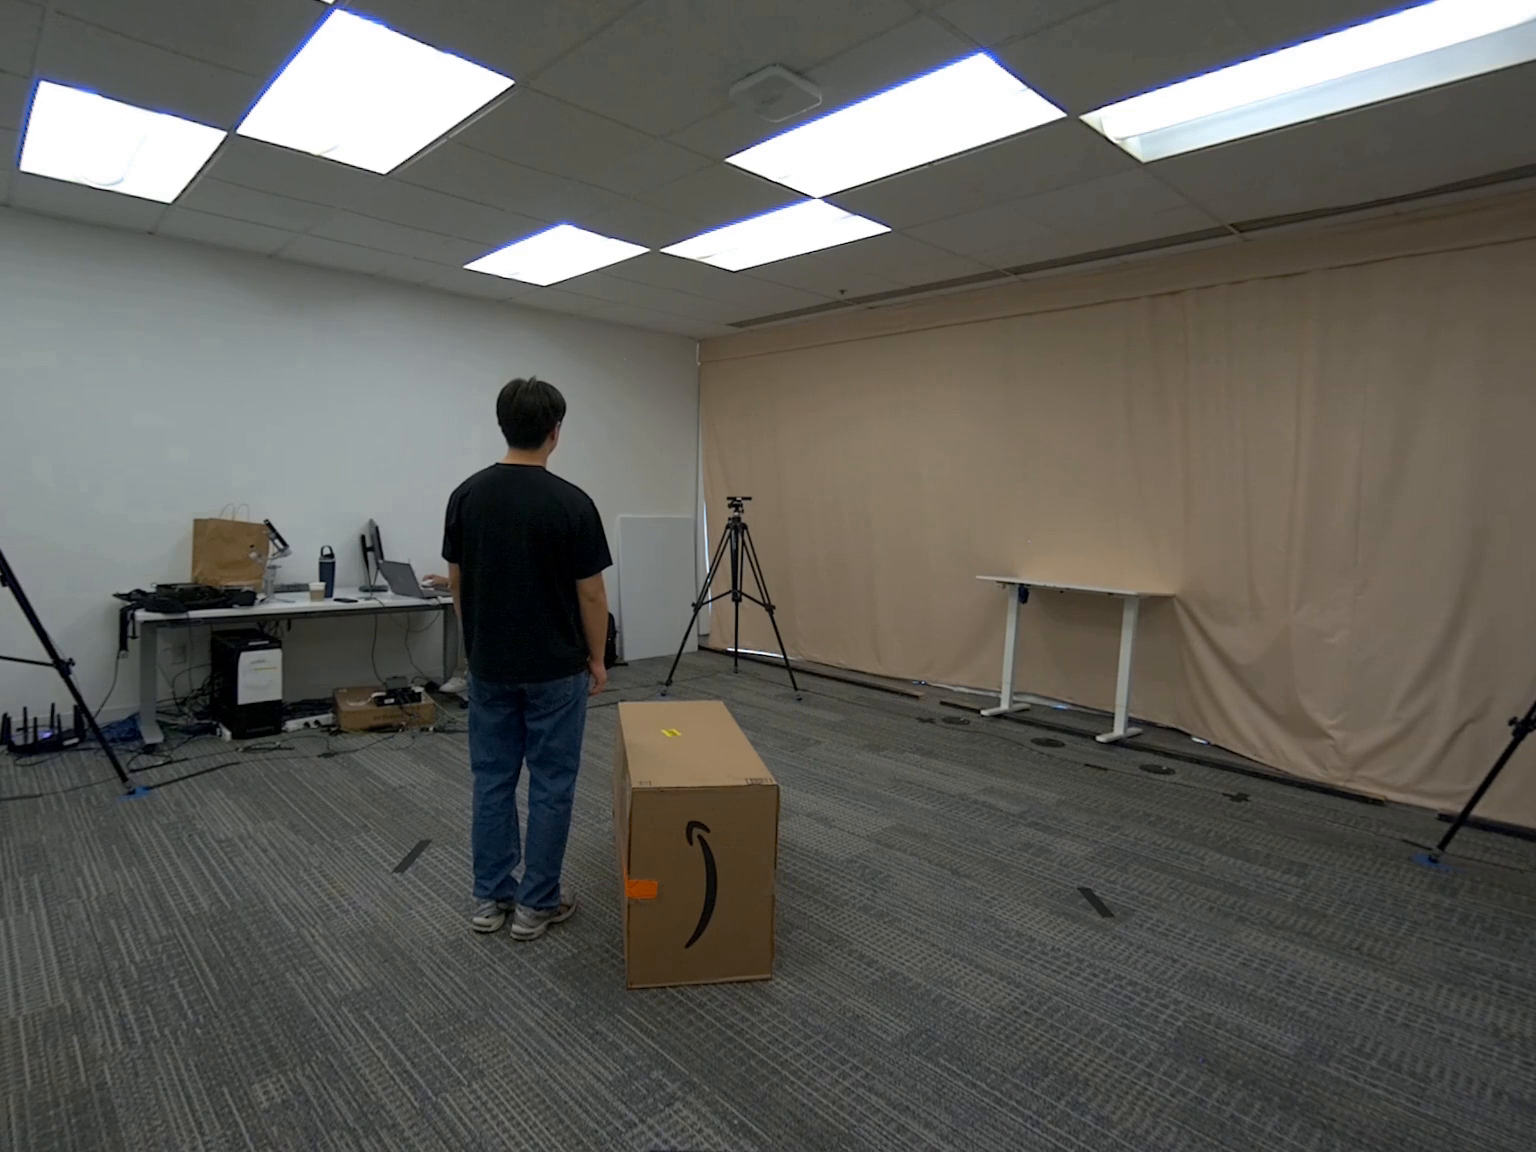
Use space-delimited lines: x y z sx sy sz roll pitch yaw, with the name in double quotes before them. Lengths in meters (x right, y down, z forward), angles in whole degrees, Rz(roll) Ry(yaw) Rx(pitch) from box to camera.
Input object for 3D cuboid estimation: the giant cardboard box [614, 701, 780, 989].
"giant cardboard box" -0.295 0.834 2.892 0.443 0.582 1.039 0 4 -12
